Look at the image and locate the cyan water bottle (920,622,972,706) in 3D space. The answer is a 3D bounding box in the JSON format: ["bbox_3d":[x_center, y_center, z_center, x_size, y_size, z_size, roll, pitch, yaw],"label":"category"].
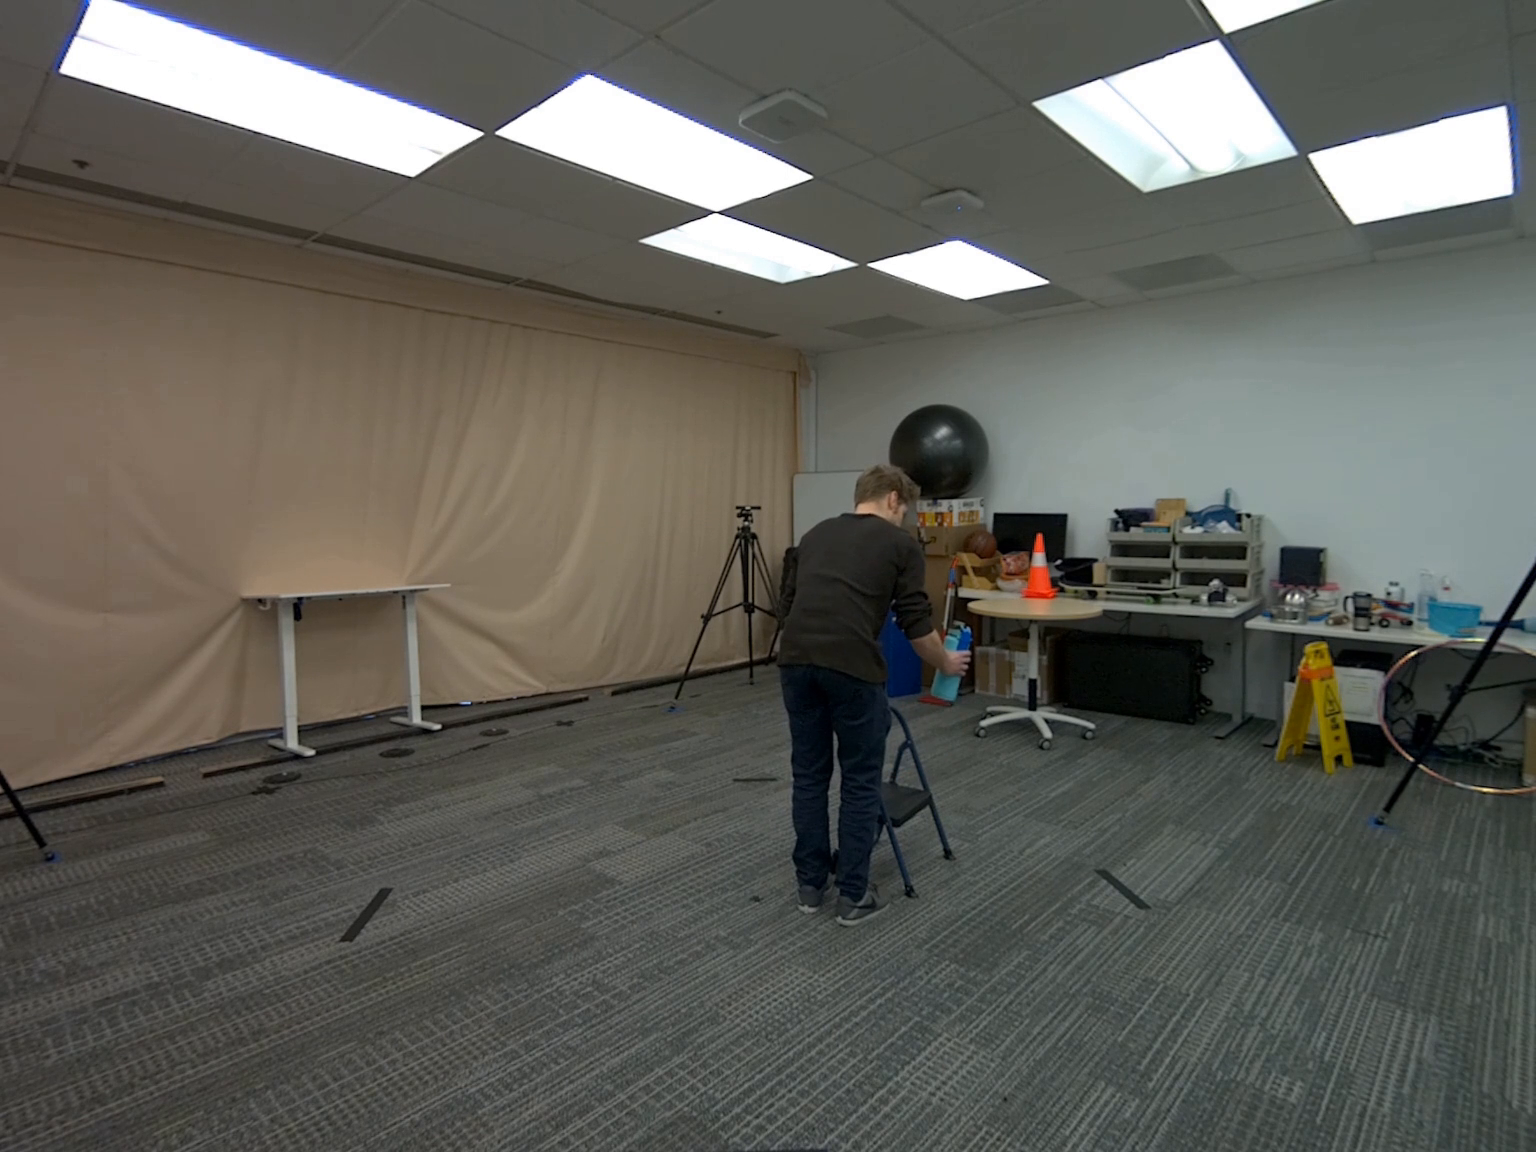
[{"bbox_3d":[0.681,0.320,3.073,0.092,0.283,0.093,17,3,-3],"label":"cyan water bottle"}]
